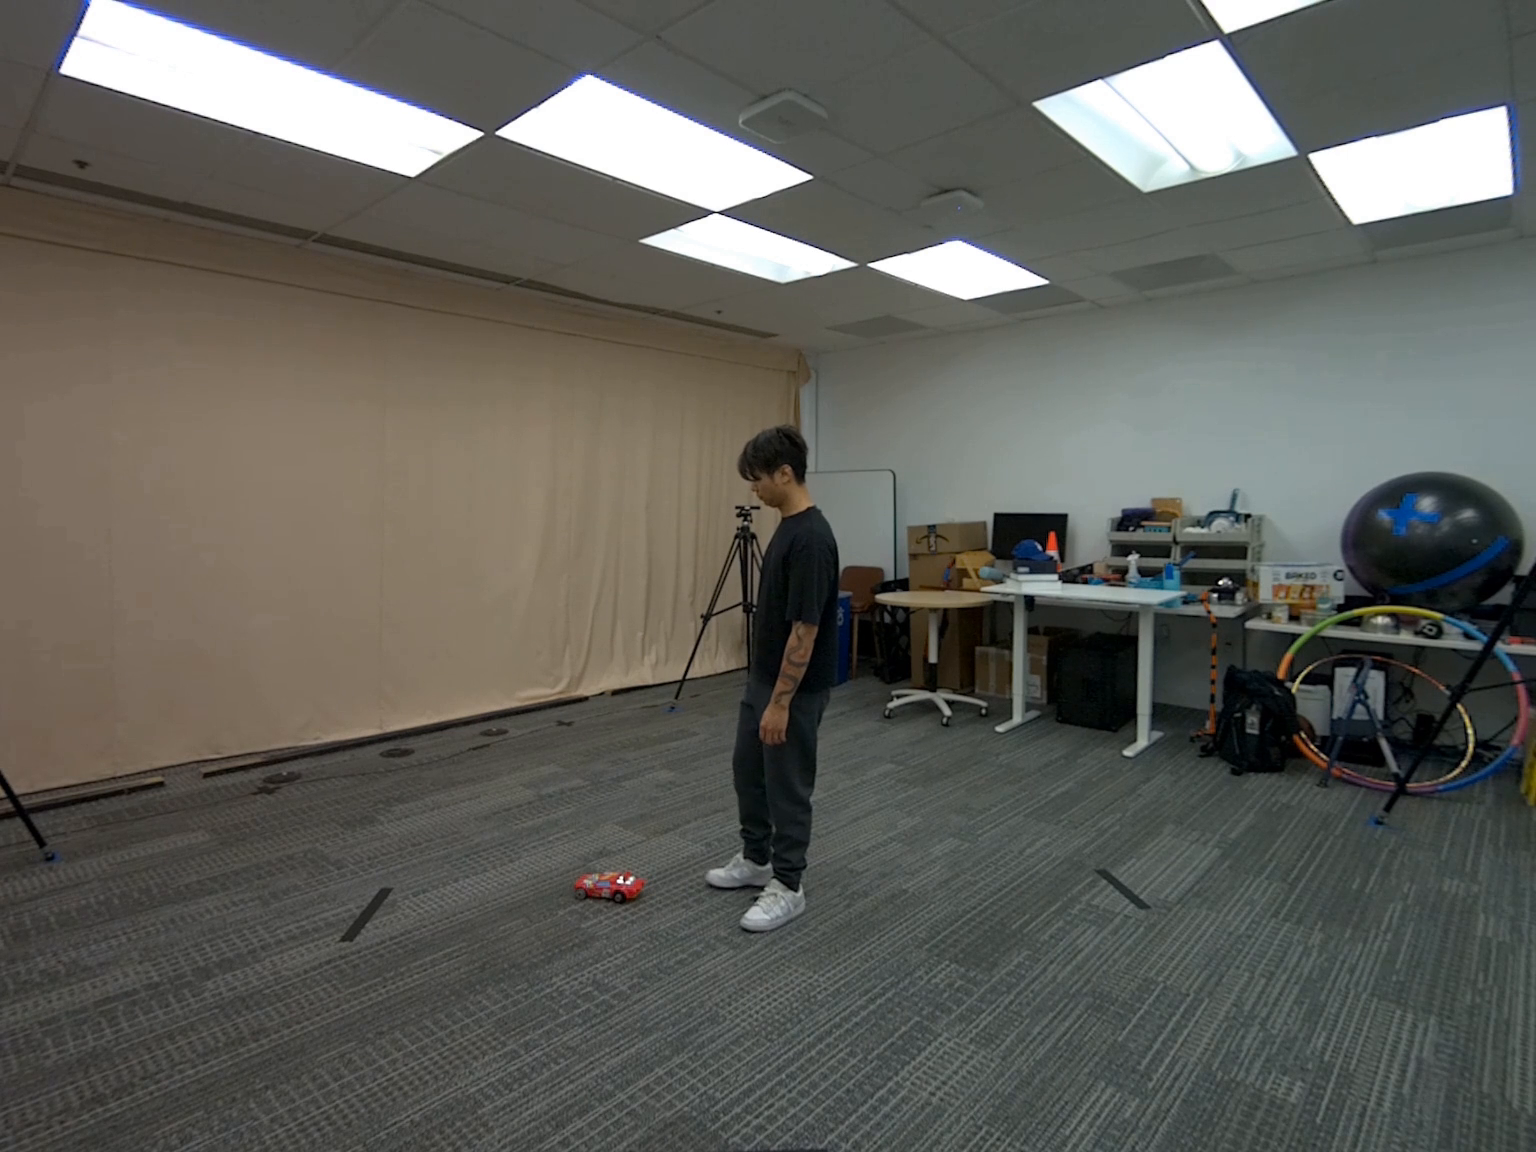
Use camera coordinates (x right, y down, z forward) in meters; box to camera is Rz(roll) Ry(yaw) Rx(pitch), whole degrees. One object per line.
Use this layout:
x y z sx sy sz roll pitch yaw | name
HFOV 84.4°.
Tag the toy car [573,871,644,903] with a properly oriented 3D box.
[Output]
-0.564 1.119 3.017 0.258 0.083 0.128 -10 2 15 | toy car
